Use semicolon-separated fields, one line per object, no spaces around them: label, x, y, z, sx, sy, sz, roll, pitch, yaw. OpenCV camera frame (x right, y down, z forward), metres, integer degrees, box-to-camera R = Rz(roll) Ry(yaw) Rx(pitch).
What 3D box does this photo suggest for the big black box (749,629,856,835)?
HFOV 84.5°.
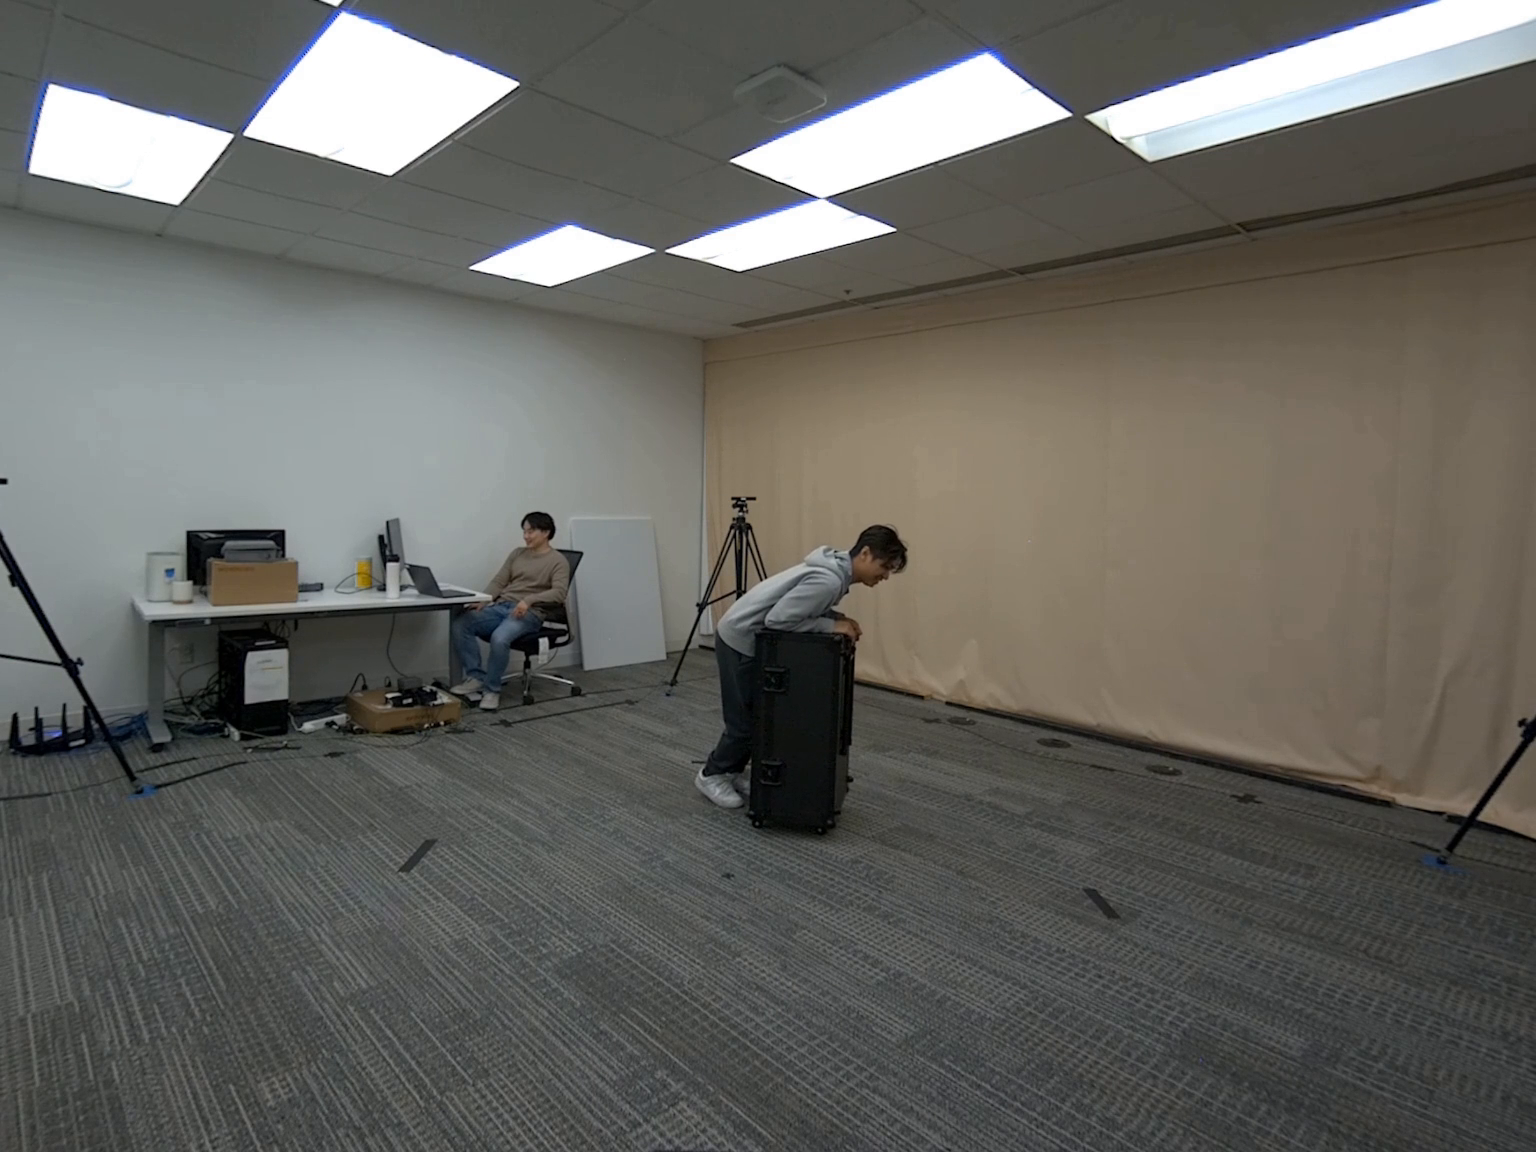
big black box;0.166;0.647;3.658;0.401;0.859;0.516;3;4;14
